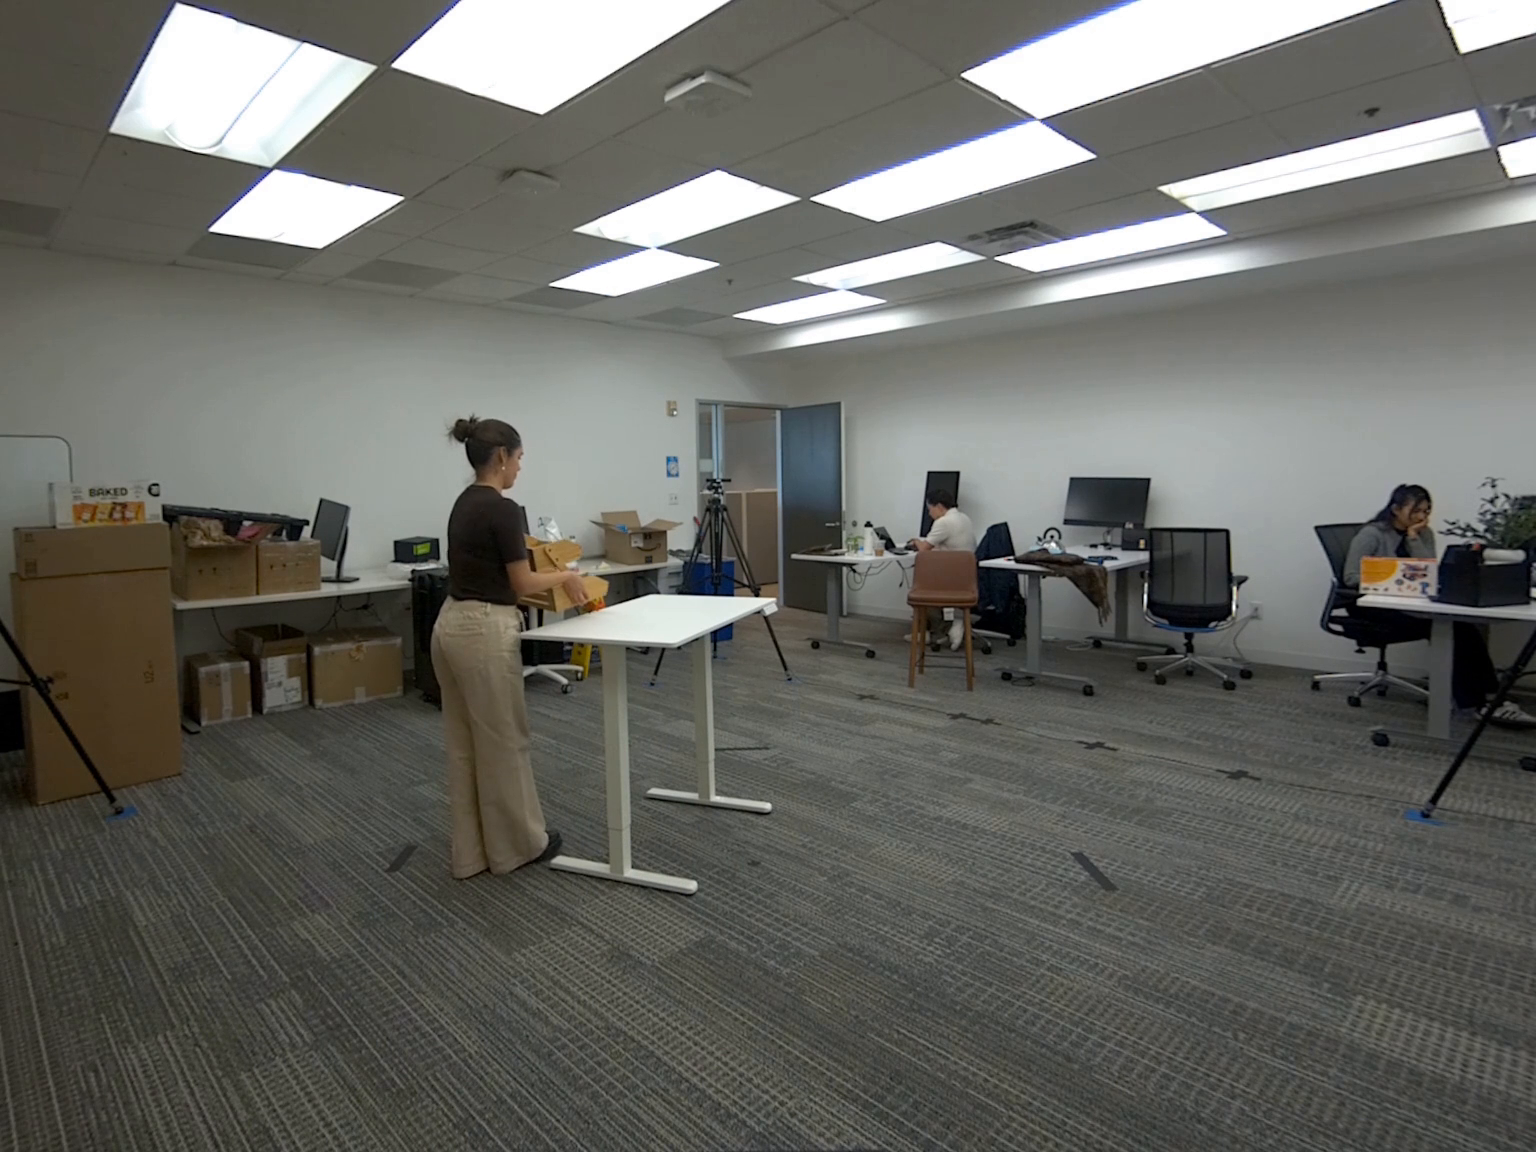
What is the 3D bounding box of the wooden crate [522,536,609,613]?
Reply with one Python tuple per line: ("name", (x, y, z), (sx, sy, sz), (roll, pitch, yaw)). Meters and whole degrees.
("wooden crate", (-0.842, -0.033, 3.313), (0.335, 0.270, 0.296), (7, 20, 44))
